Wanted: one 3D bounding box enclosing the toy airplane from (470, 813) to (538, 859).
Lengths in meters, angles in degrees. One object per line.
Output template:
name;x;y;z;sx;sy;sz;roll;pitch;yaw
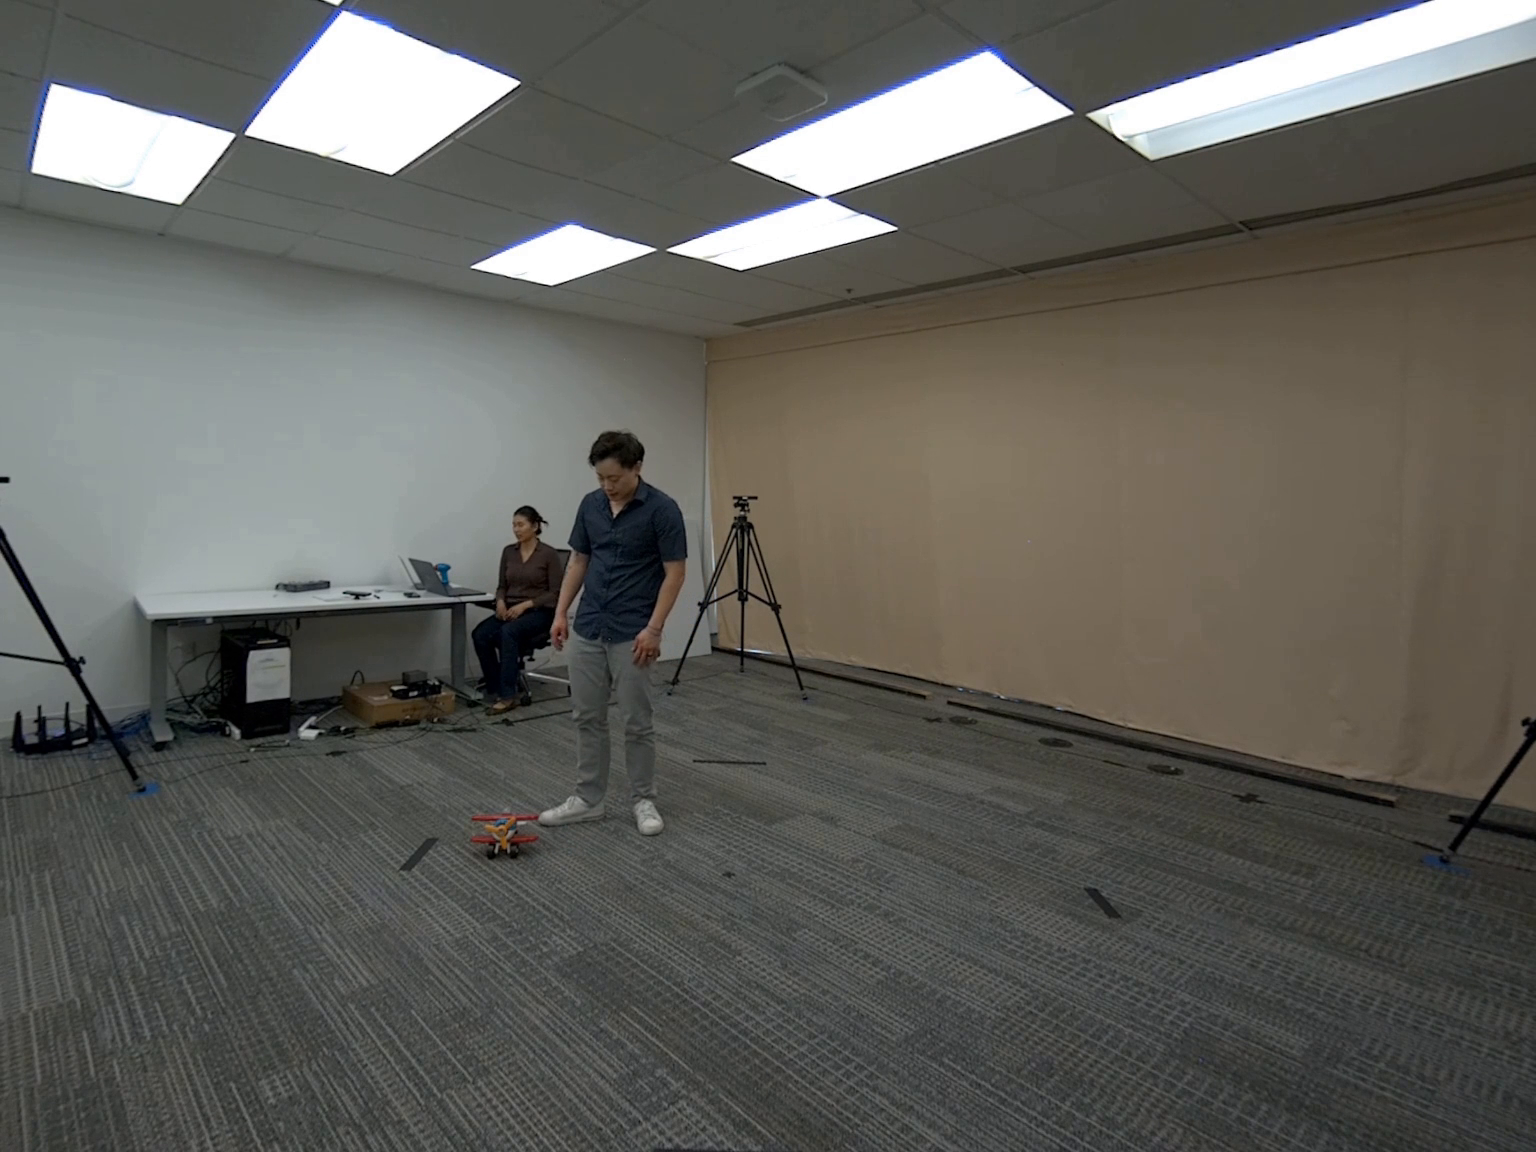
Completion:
toy airplane;-1.051;0.995;3.287;0.246;0.156;0.265;-2;5;-35
